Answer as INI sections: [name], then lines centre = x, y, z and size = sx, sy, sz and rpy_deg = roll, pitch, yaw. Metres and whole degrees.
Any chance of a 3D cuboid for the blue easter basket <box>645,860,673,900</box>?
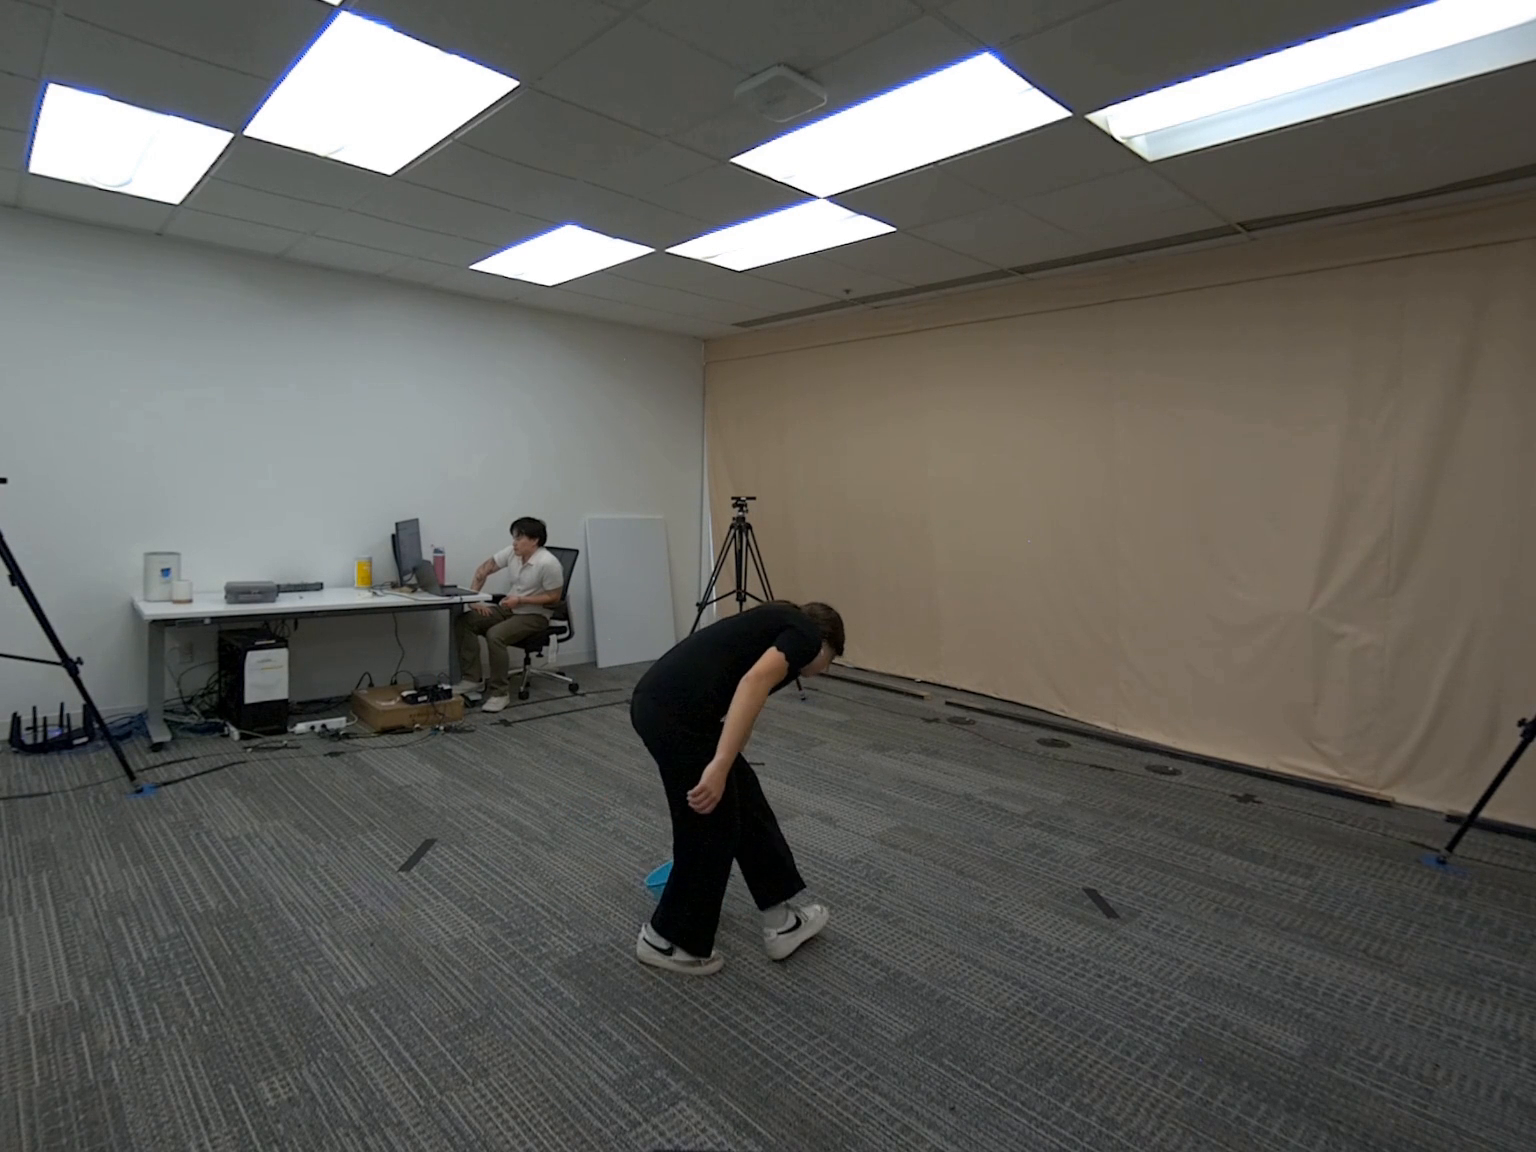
[blue easter basket]
centre = -0.269, 1.035, 2.755
size = 0.243, 0.156, 0.243
rpy_deg = -21, -3, -3
